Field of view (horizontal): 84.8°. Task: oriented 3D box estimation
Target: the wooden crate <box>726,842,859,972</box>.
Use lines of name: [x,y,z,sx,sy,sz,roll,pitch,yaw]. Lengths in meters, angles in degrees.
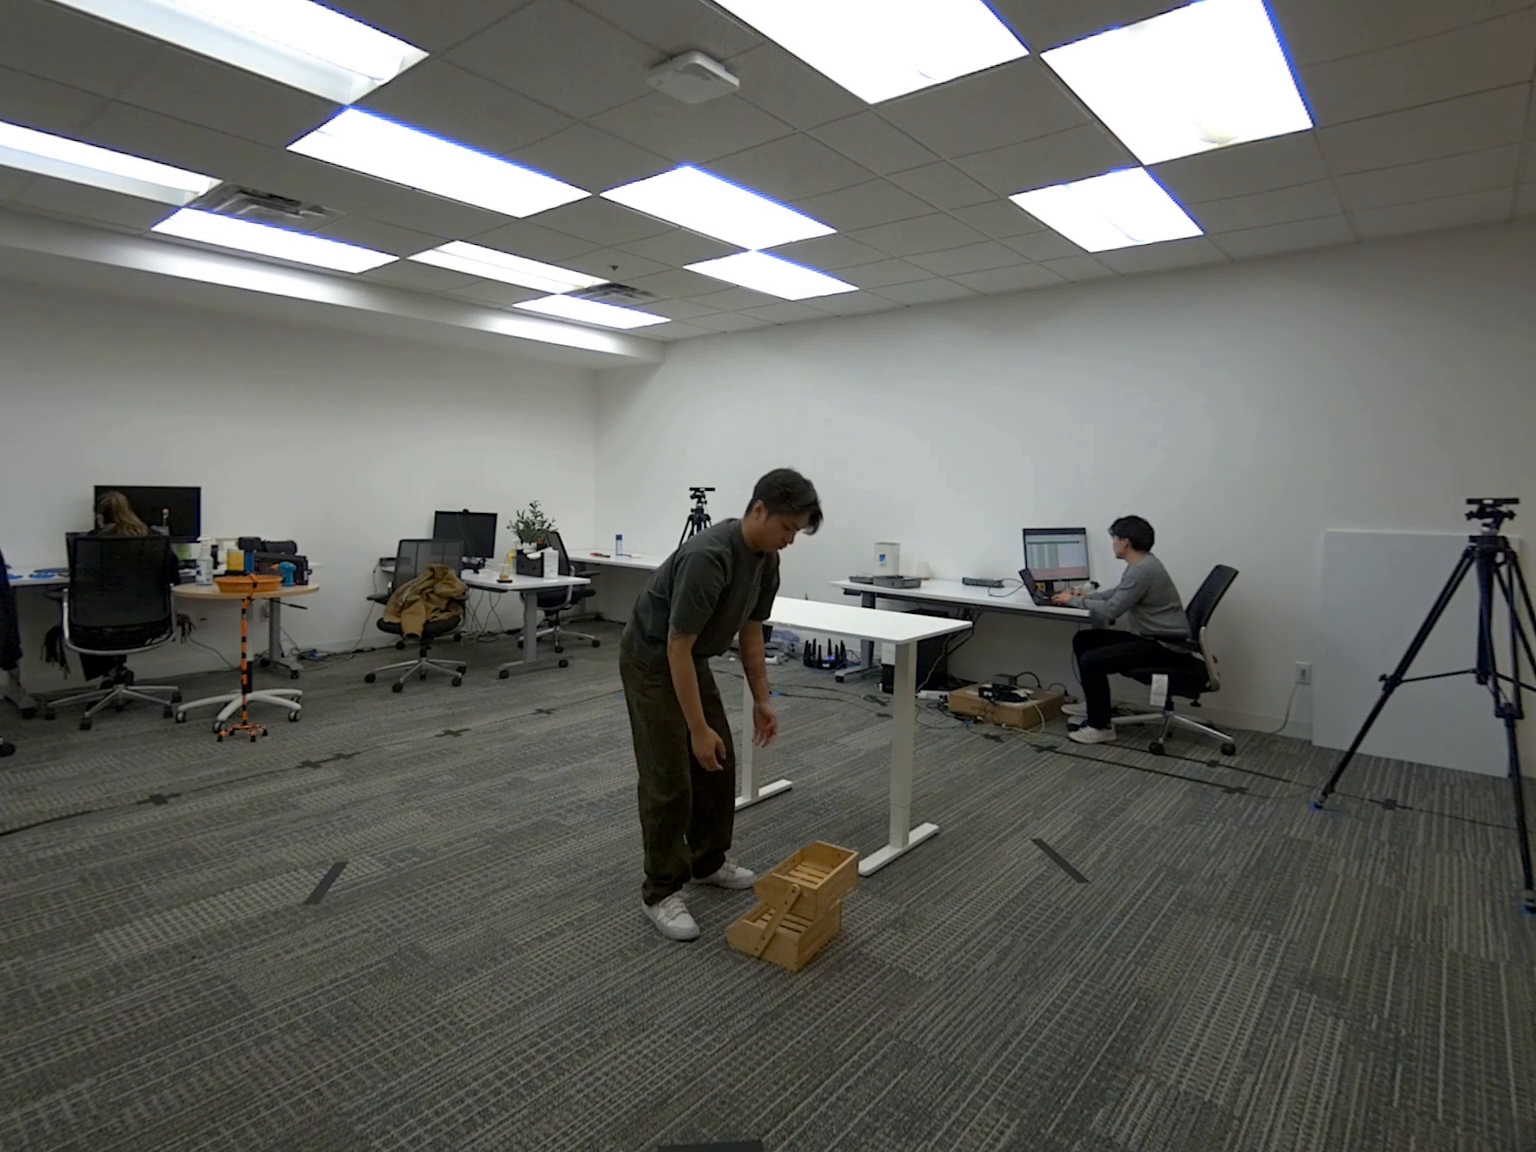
wooden crate: [0.063,0.982,2.626,0.311,0.272,0.316,5,6,31]
